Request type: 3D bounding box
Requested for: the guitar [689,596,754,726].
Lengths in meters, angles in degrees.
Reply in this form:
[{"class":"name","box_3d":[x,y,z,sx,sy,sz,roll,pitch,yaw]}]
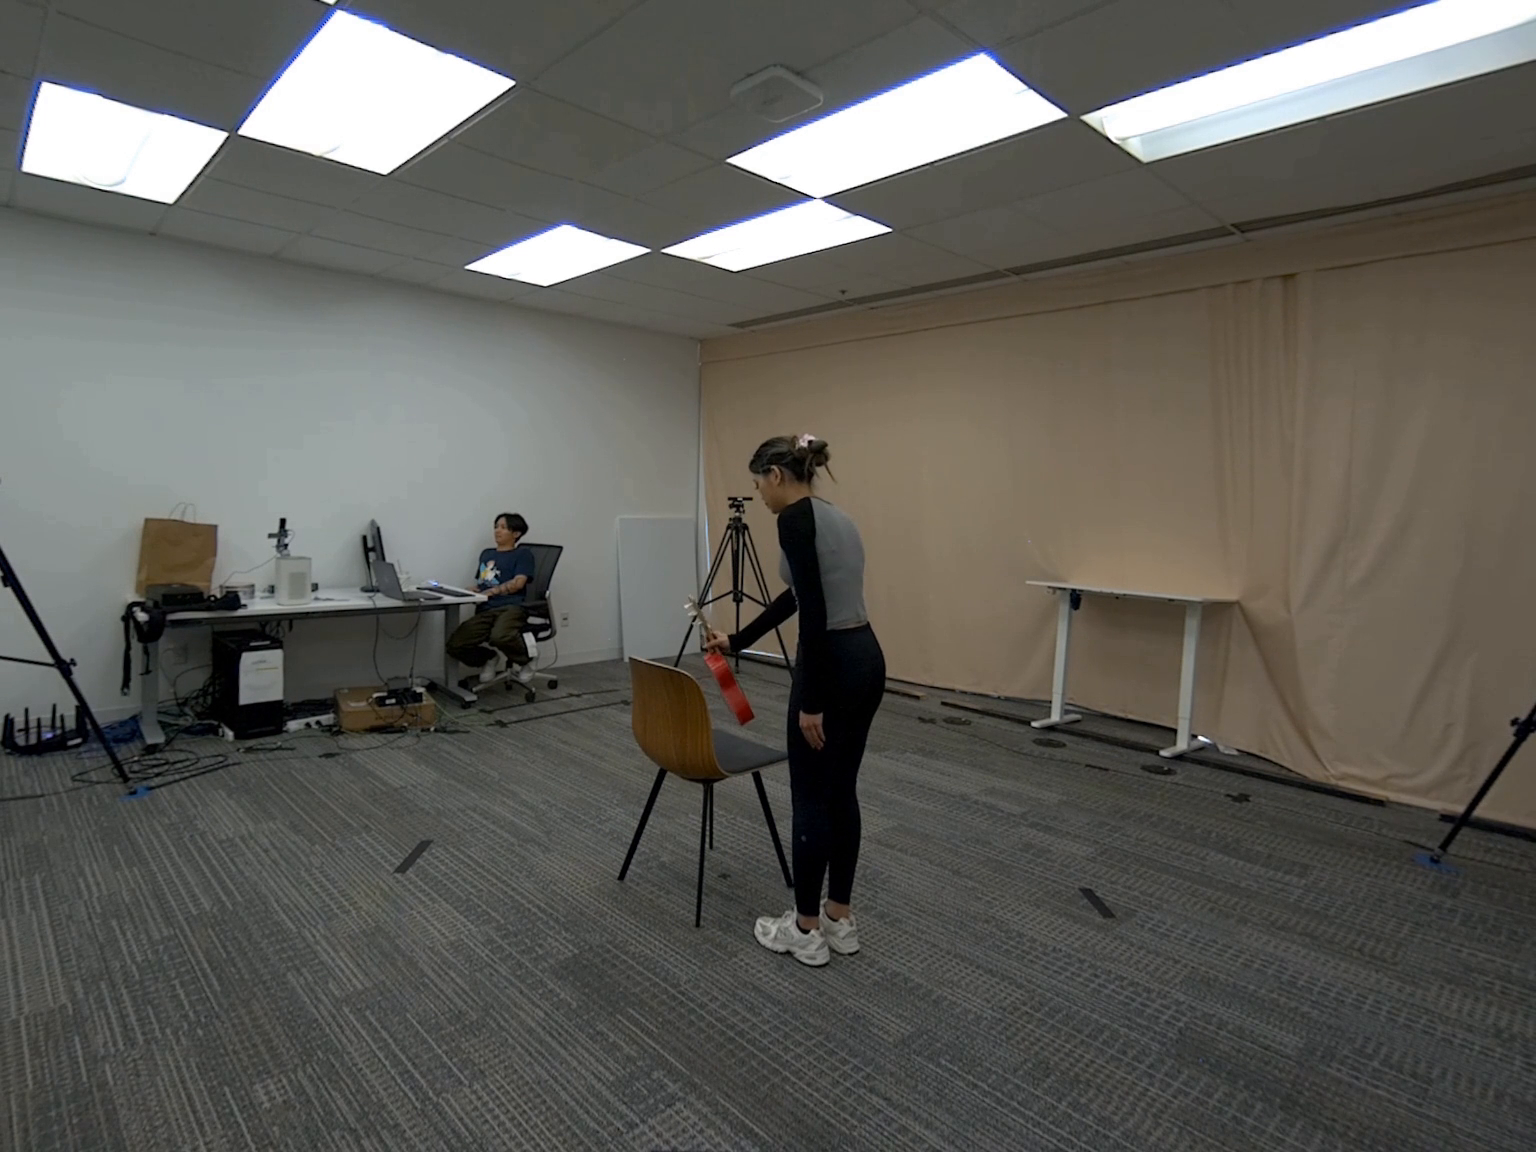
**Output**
[{"class":"guitar","box_3d":[-0.193,0.295,2.991,0.070,0.495,0.195,-27,6,-10]}]
